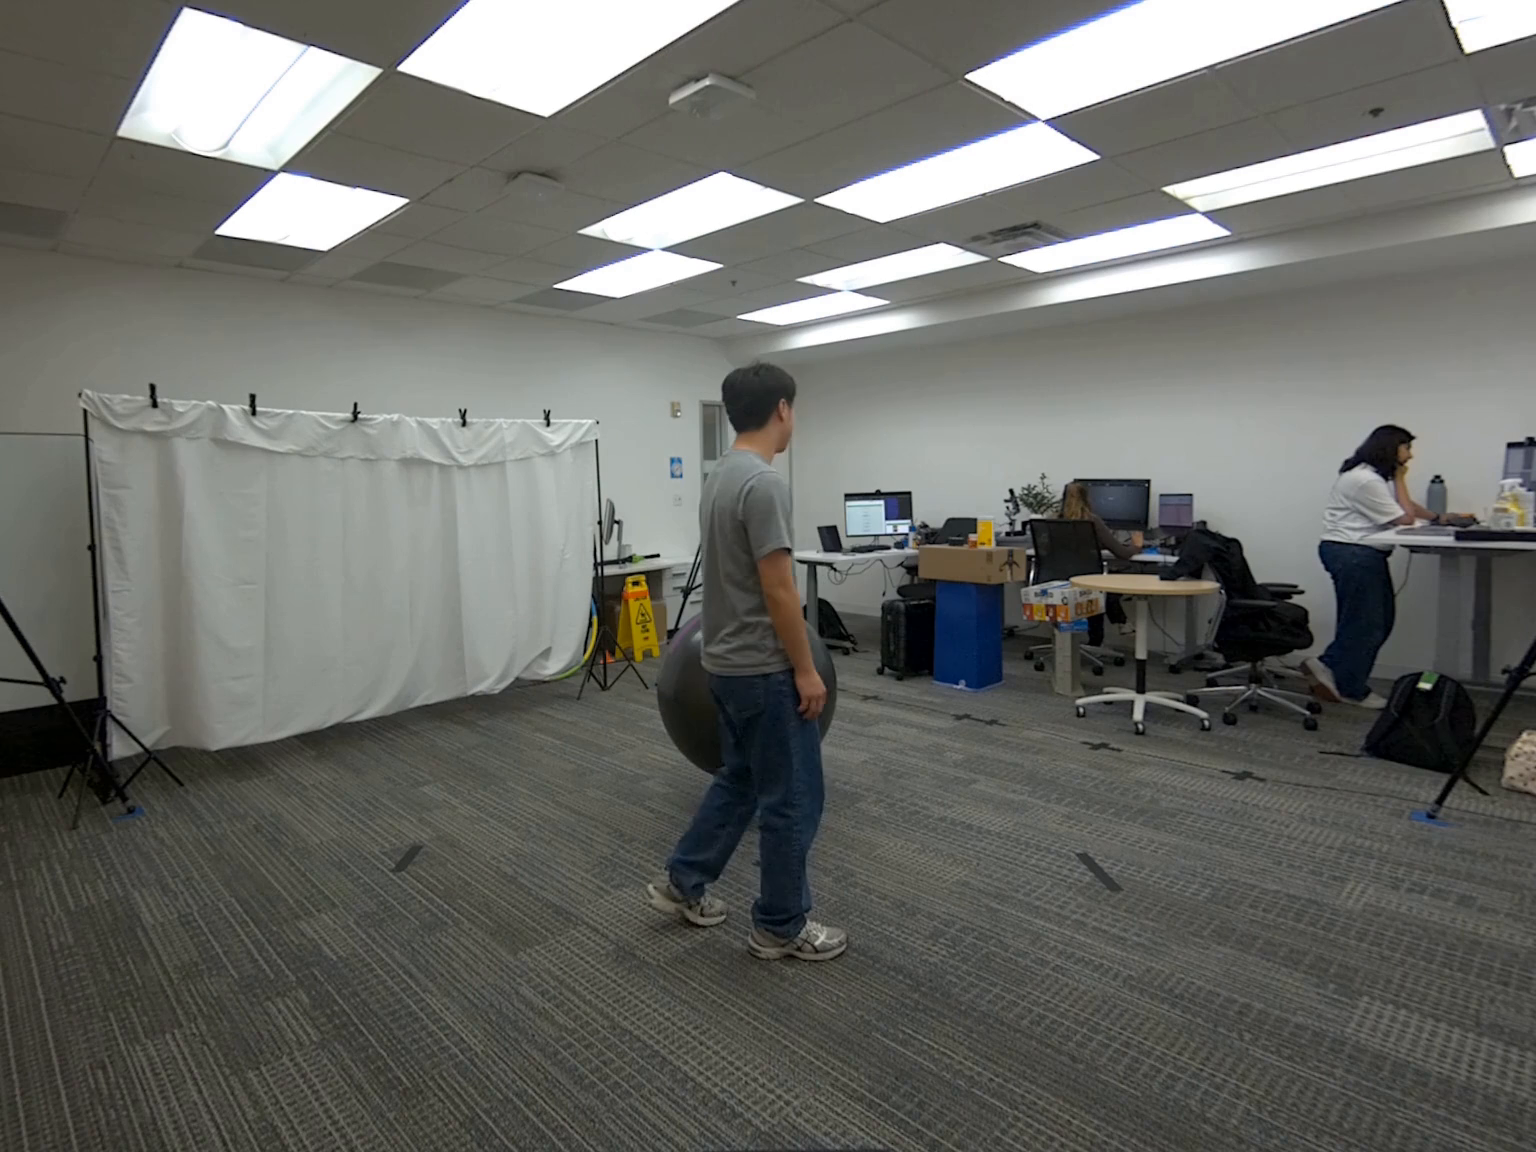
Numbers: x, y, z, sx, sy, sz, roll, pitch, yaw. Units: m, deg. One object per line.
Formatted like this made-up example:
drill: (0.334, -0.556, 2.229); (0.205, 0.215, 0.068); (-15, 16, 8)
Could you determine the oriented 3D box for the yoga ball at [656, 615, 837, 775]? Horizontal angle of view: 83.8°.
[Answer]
yoga ball: (-0.094, 0.478, 3.621); (0.757, 0.755, 0.762); (-1, 5, -2)
